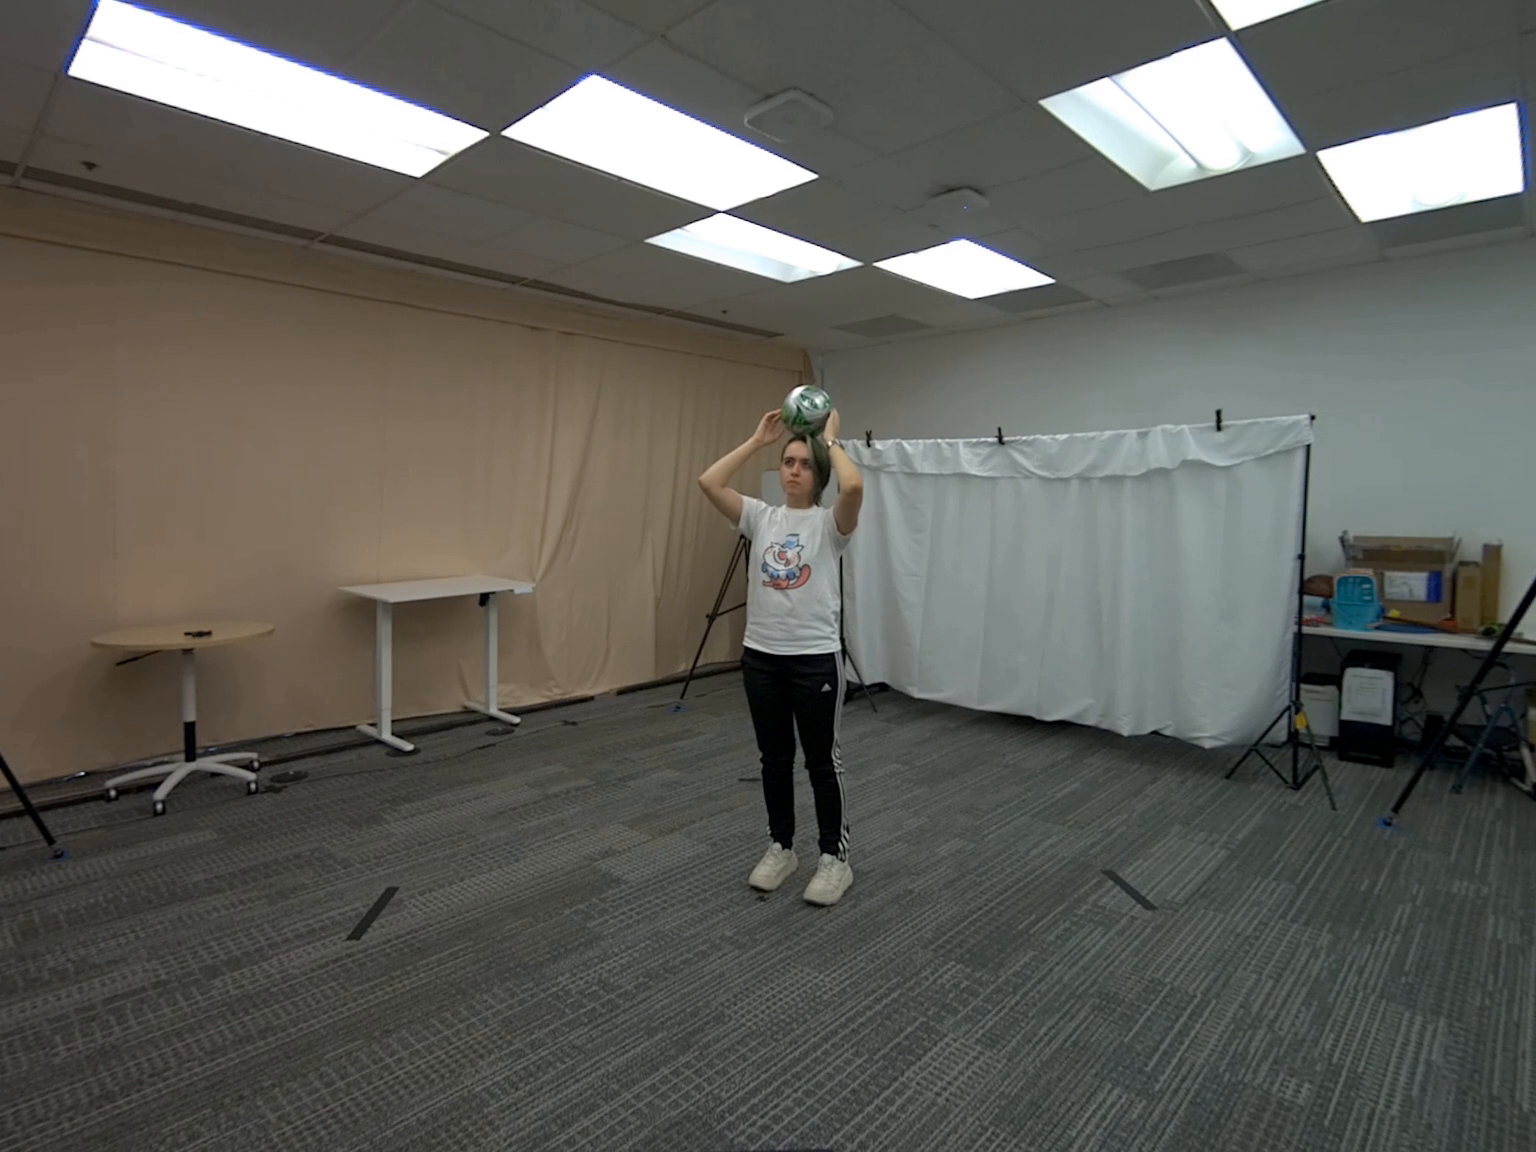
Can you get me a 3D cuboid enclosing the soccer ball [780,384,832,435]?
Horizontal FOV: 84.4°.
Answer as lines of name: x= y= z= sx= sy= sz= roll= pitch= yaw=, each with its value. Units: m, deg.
soccer ball: x=0.149 y=-0.589 z=3.024 sx=0.187 sy=0.187 sz=0.188 roll=0 pitch=4 yaw=-2
